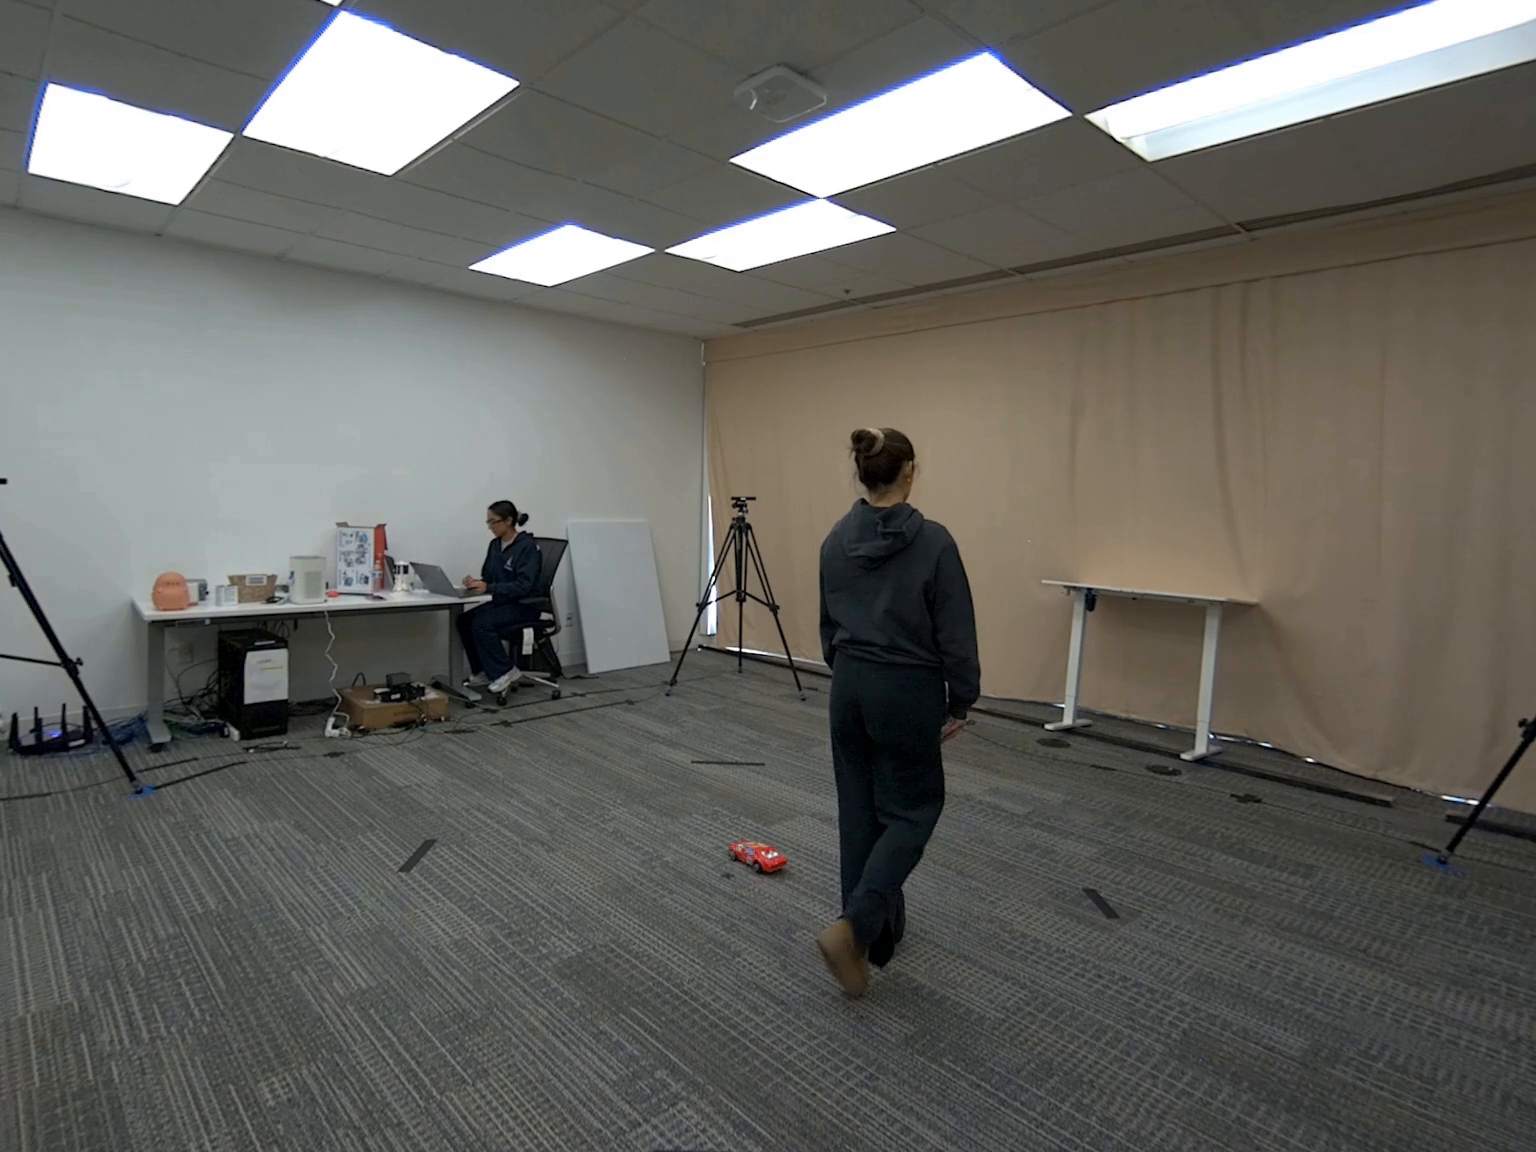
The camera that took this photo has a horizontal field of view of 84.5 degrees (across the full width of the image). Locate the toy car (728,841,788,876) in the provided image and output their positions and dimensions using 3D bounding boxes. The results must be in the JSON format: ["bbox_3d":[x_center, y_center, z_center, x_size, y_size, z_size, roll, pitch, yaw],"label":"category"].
[{"bbox_3d":[-0.044,1.066,3.212,0.127,0.083,0.259,-2,-4,-41],"label":"toy car"}]
